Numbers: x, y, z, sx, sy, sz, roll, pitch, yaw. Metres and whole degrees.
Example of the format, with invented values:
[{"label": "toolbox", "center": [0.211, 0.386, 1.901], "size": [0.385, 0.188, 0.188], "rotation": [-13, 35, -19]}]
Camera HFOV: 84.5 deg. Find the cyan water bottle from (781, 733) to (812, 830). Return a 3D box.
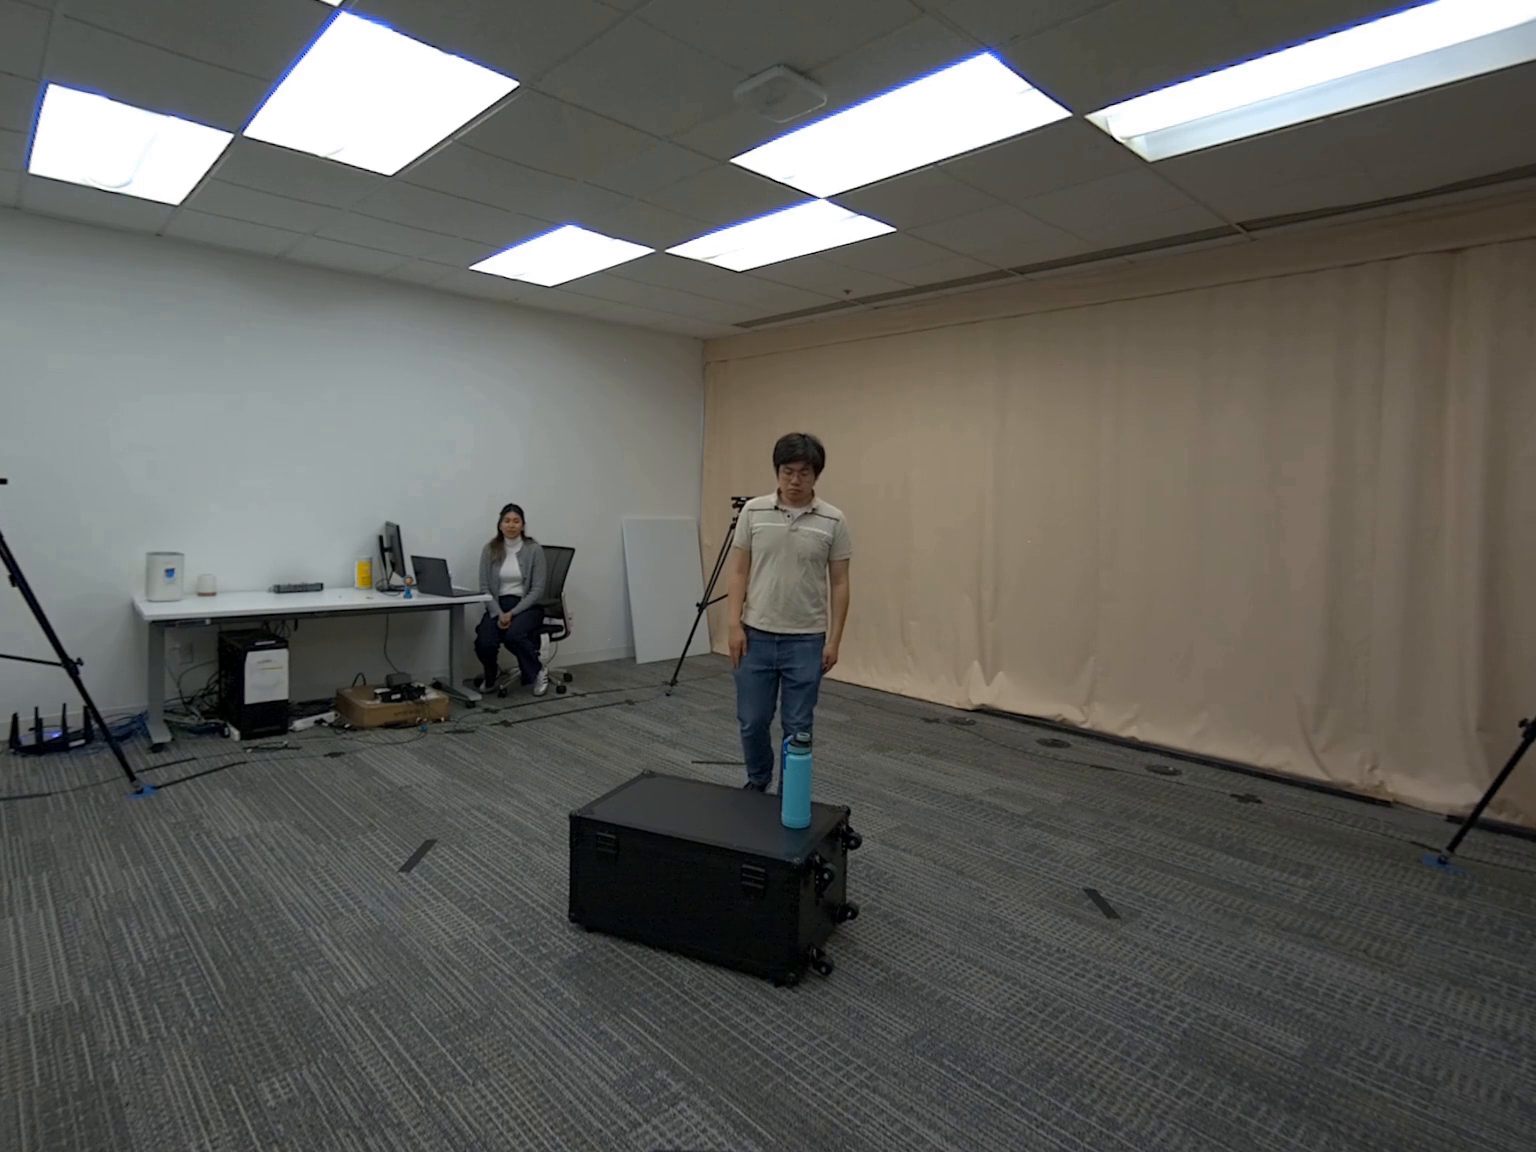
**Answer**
[{"label": "cyan water bottle", "center": [0.081, 0.640, 2.638], "size": [0.092, 0.283, 0.092], "rotation": [0, 3, -1]}]
